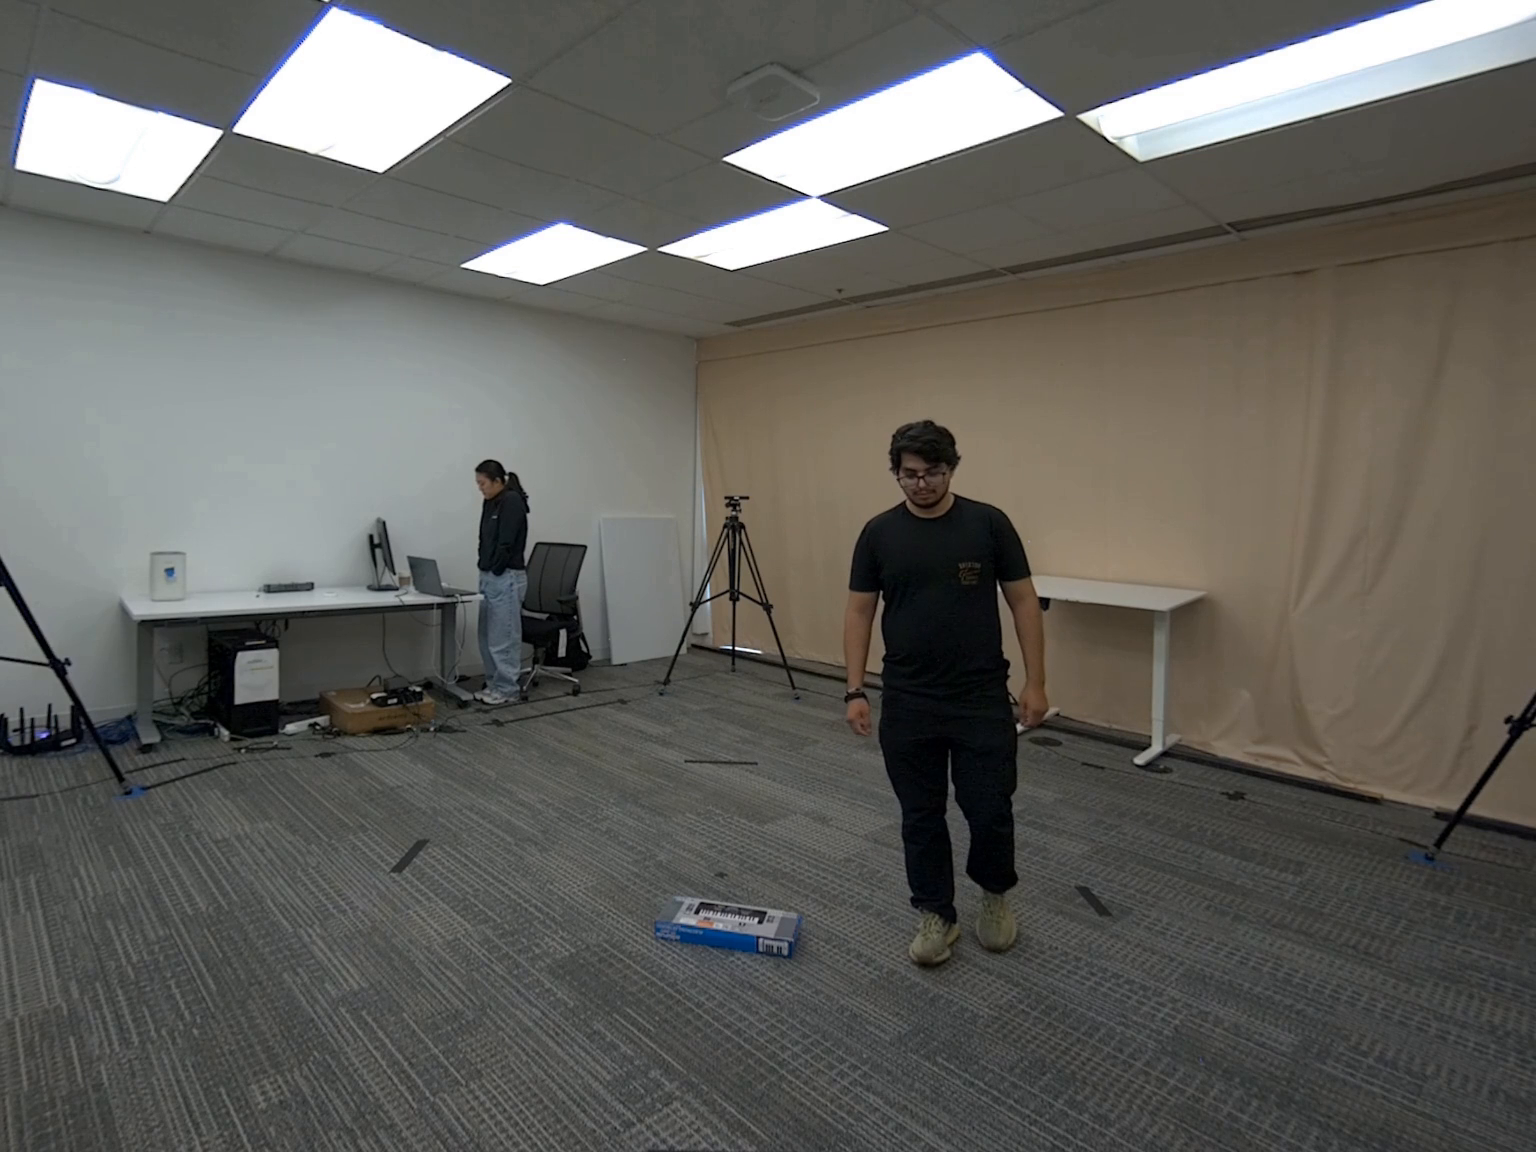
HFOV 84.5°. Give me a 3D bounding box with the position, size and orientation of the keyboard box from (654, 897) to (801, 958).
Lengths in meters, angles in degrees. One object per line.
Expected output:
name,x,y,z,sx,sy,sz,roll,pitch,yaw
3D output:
keyboard box,-0.129,1.109,2.680,0.442,0.059,0.174,3,6,14
